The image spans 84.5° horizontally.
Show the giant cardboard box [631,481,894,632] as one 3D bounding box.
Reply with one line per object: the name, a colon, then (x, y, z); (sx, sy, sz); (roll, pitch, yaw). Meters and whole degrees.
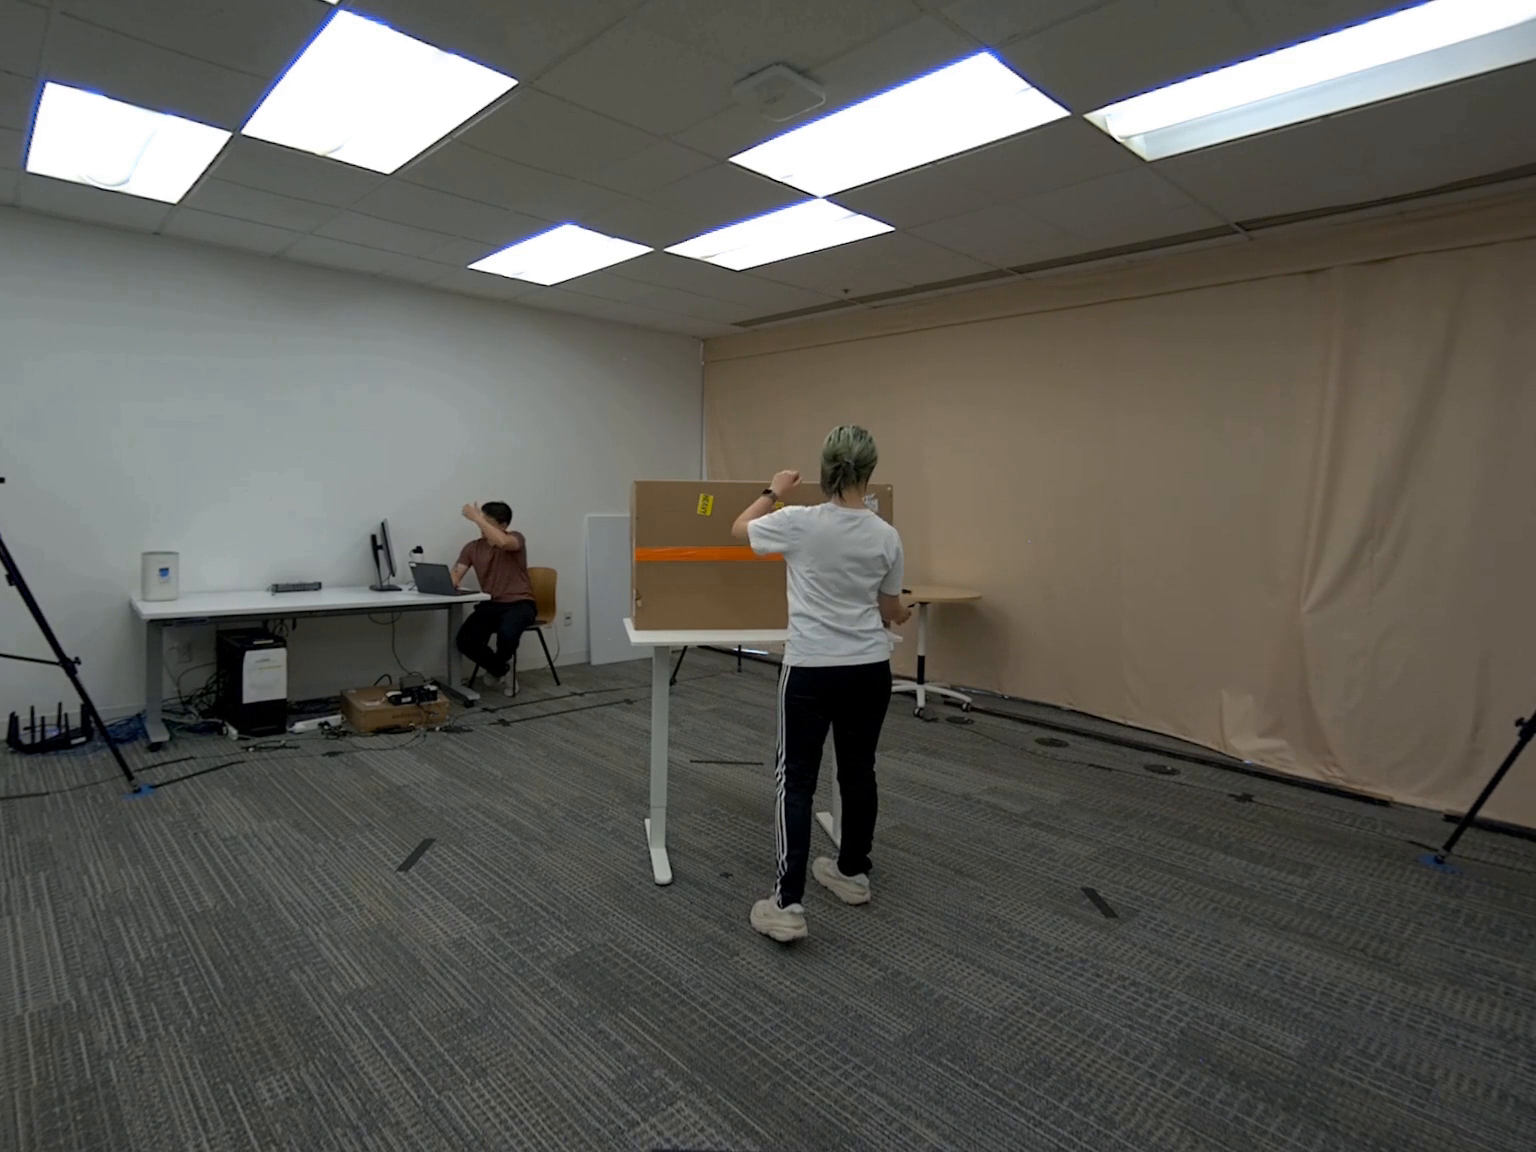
giant cardboard box: (-0.058, -0.093, 3.465); (1.019, 0.583, 0.451); (0, 3, -10)
